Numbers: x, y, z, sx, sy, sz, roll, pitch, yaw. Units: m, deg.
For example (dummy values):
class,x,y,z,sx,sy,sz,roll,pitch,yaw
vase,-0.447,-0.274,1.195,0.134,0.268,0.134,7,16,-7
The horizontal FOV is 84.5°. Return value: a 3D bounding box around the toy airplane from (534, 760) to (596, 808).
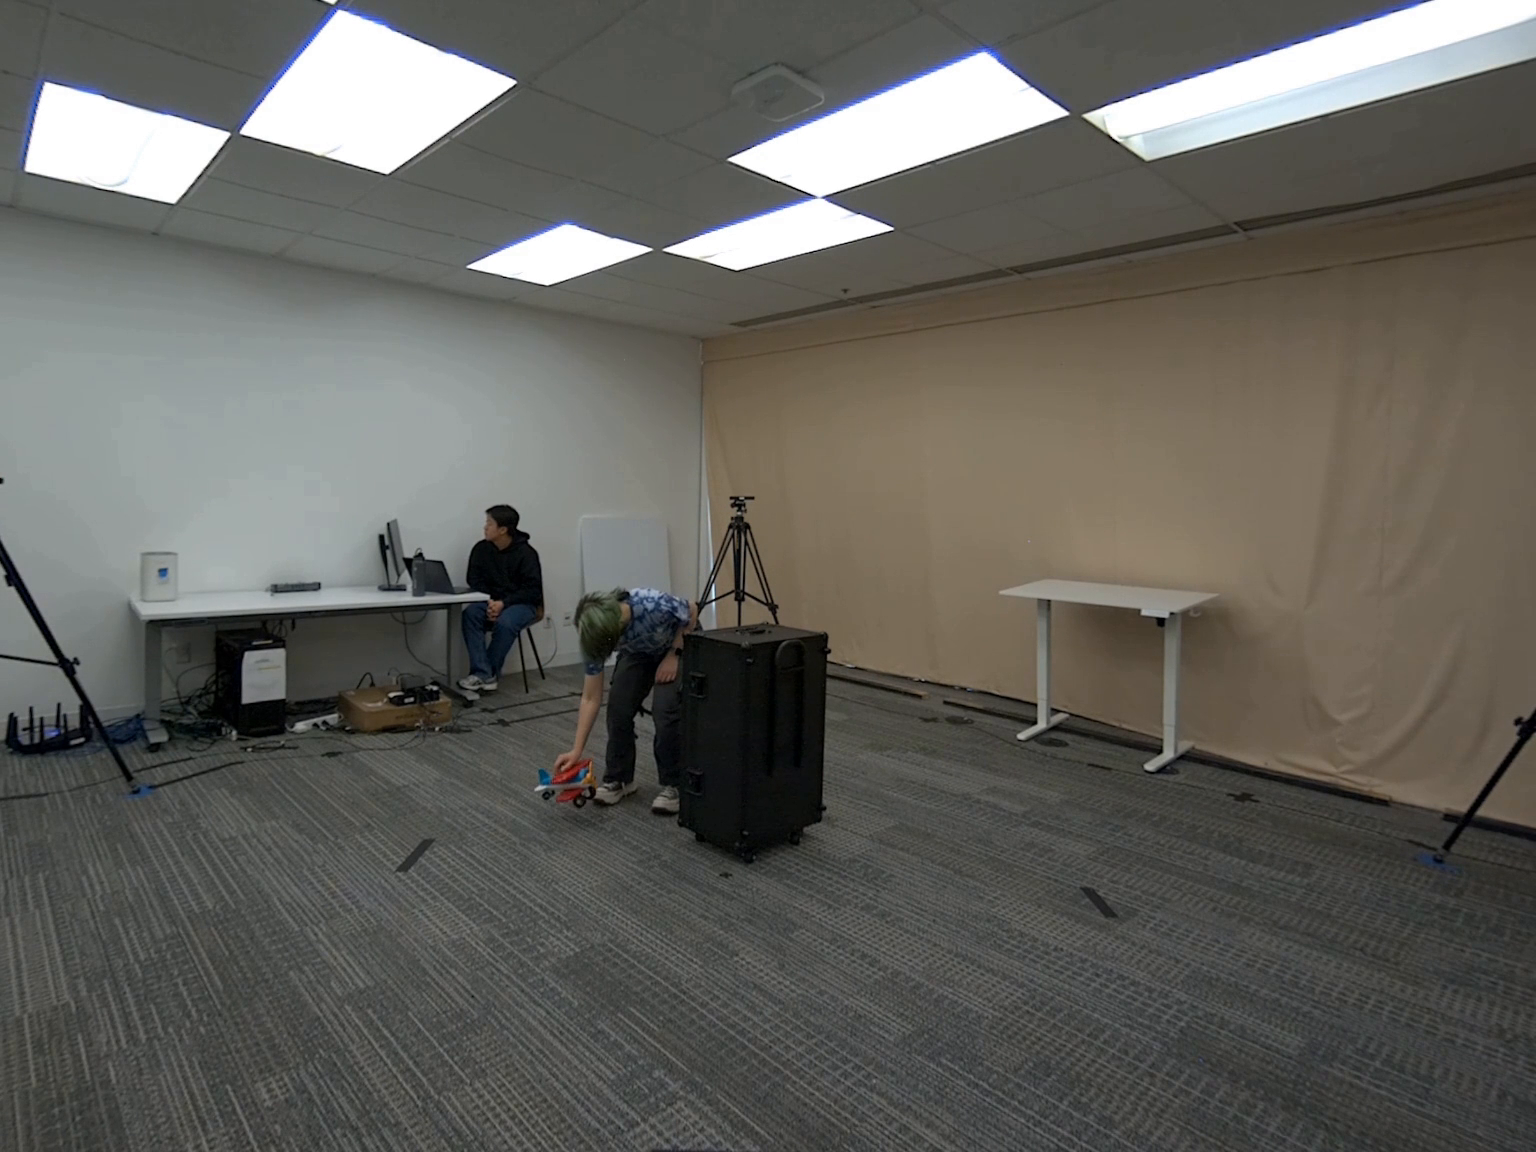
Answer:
class,x,y,z,sx,sy,sz,roll,pitch,yaw
toy airplane,-0.858,0.870,3.545,0.258,0.155,0.254,-2,9,-8
